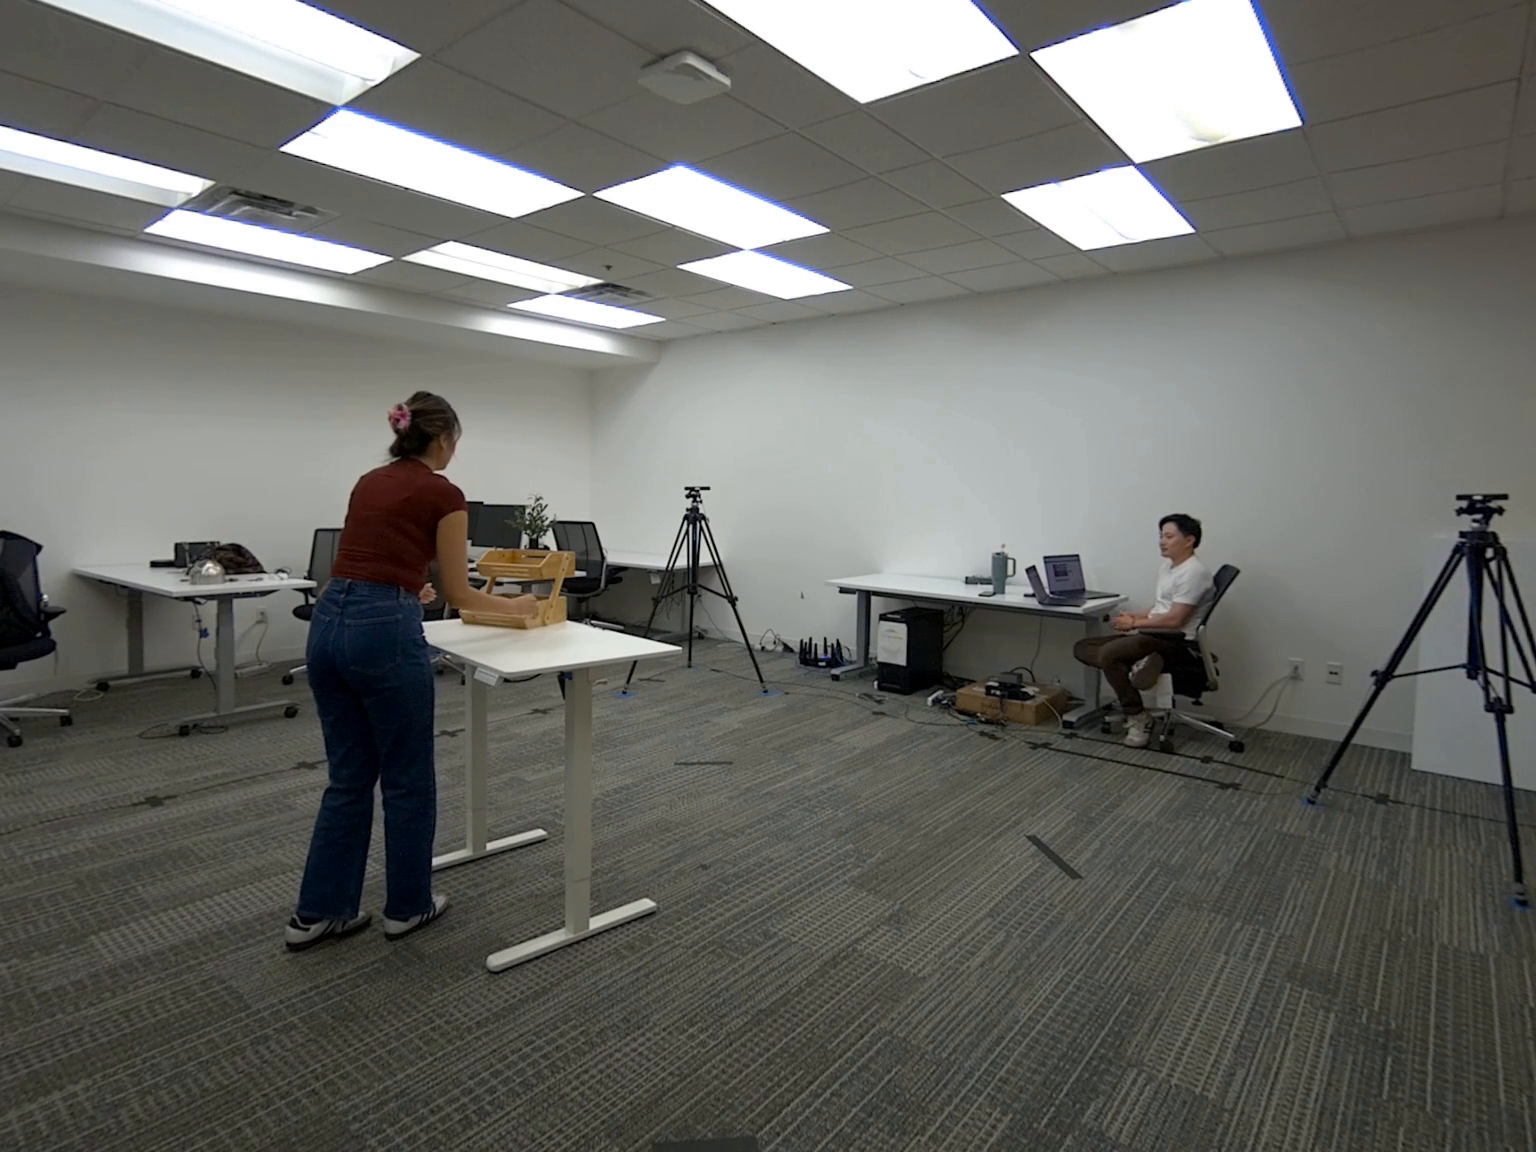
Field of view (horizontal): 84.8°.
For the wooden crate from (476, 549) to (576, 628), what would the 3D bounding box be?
[{"bbox_3d":[-0.956,0.039,3.180,0.333,0.272,0.295,2,4,24],"label":"wooden crate"}]
